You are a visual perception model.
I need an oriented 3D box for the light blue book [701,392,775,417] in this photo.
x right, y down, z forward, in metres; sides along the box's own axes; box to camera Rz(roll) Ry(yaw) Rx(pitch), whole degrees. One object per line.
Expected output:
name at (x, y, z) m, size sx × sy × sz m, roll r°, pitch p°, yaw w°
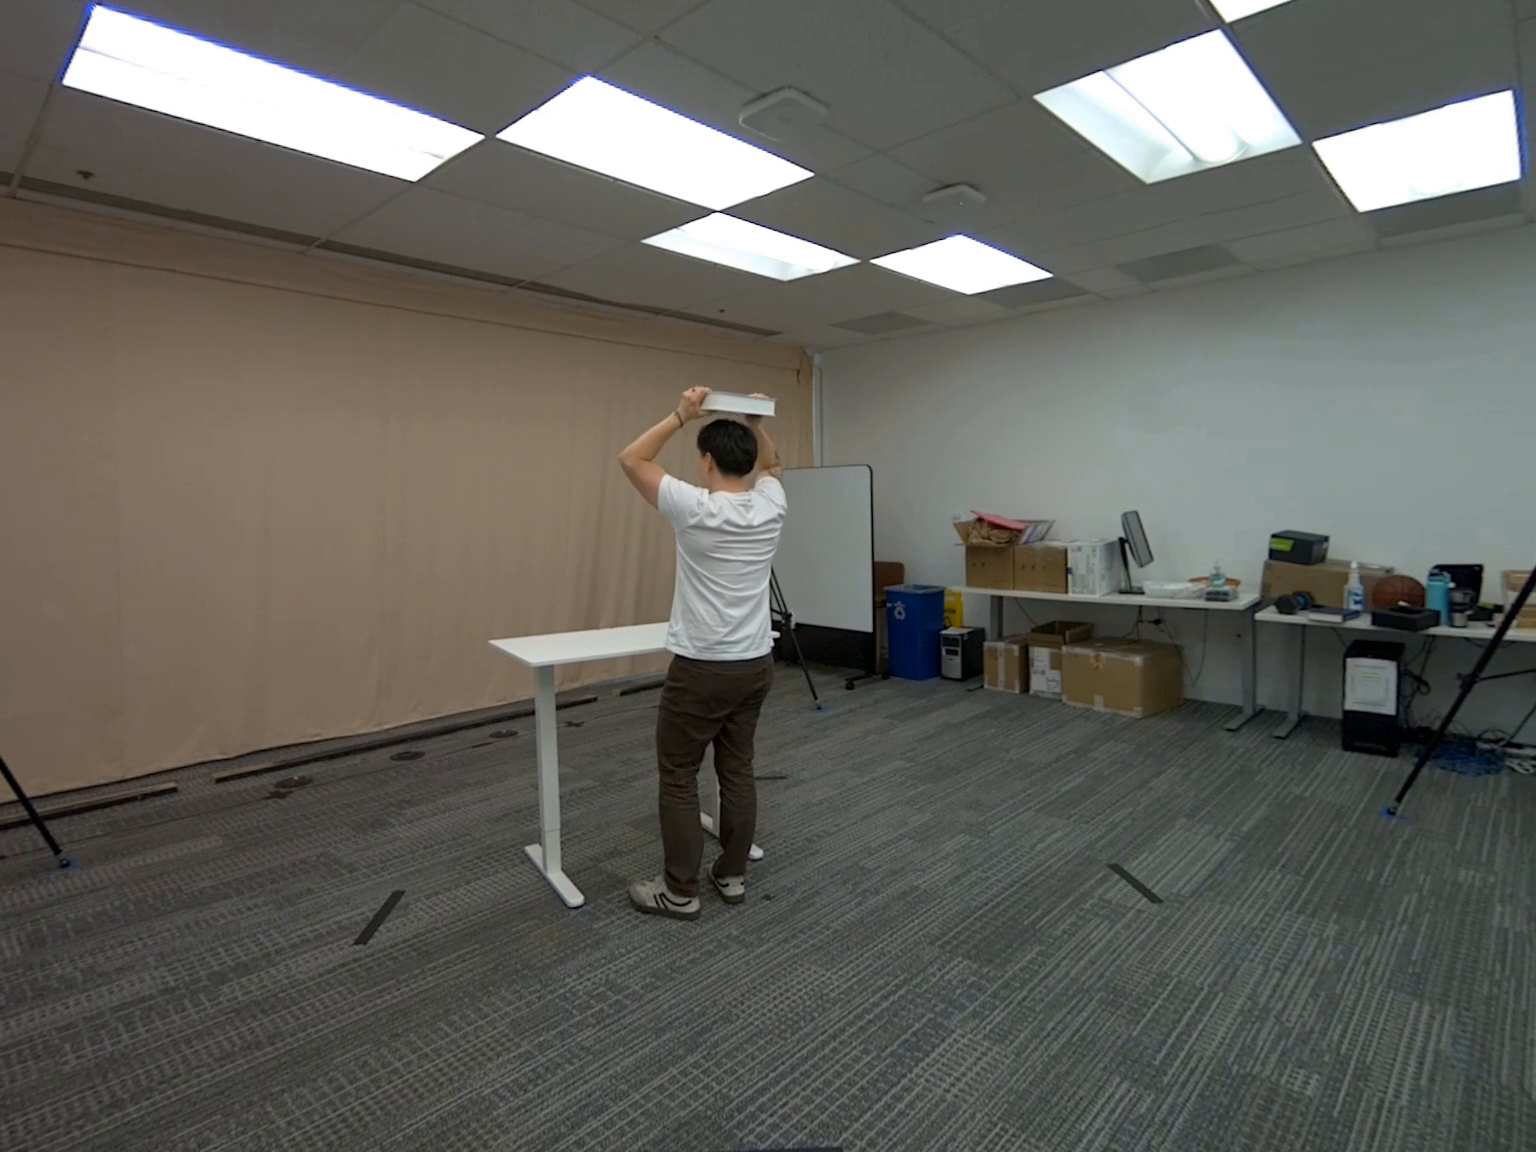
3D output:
light blue book at (-0.133, -0.592, 2.873) m, size 0.253 × 0.059 × 0.198 m, roll -3°, pitch 9°, yaw -38°
